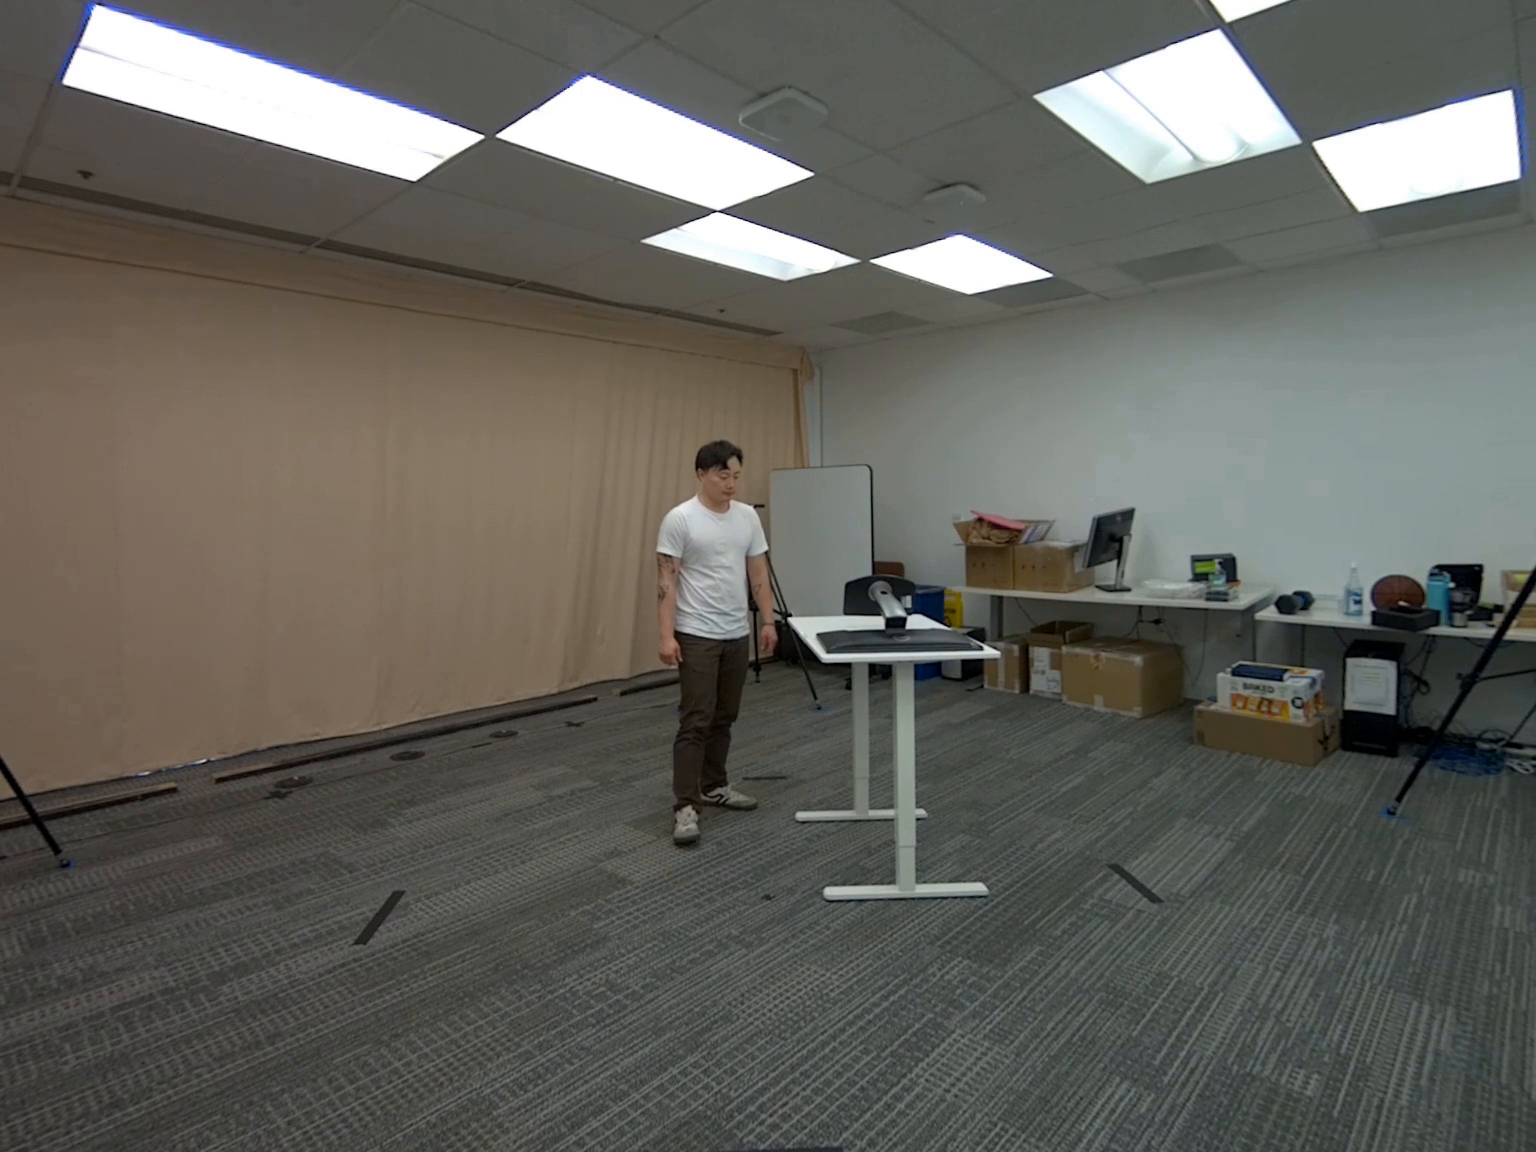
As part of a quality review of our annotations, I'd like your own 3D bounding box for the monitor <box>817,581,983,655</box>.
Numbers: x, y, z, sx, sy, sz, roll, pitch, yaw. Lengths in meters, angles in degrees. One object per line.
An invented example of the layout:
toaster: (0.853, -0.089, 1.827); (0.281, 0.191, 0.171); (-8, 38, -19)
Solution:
monitor: (0.470, 0.176, 3.113); (0.540, 0.184, 0.529); (-3, 22, 0)
